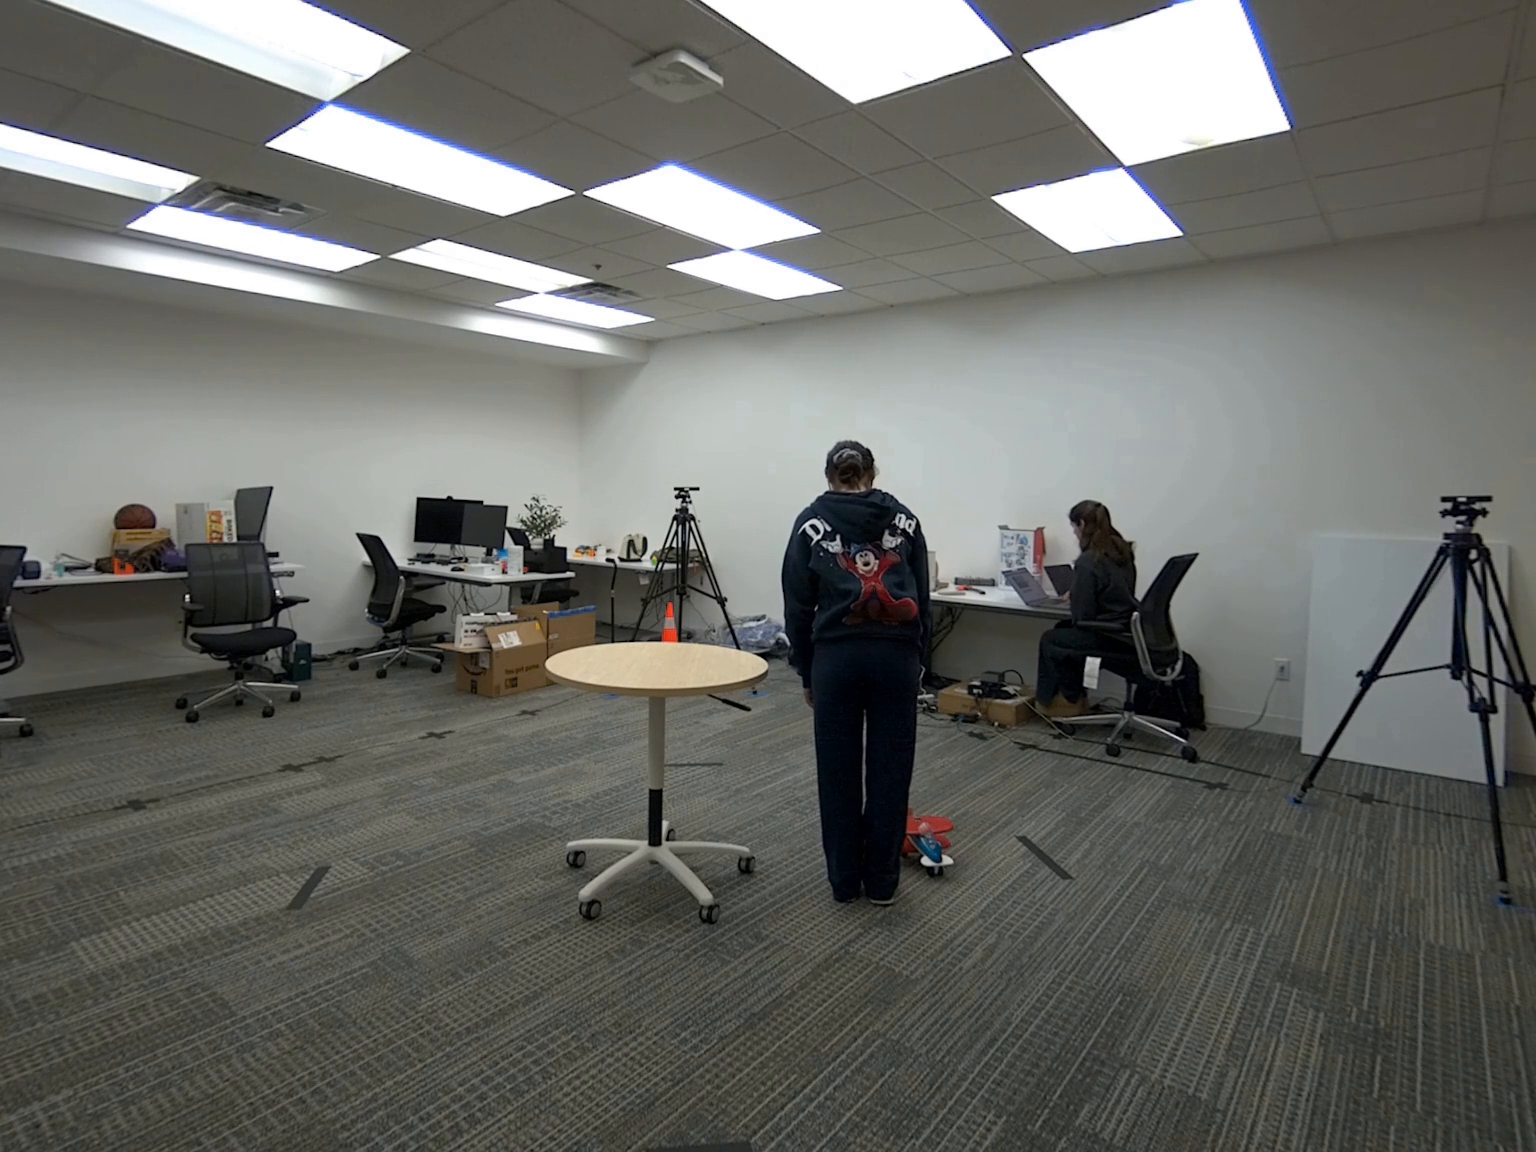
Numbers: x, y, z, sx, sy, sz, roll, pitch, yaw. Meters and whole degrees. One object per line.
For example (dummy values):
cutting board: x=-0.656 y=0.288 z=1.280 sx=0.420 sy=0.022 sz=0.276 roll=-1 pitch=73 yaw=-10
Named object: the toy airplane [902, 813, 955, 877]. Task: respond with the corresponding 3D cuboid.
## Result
toy airplane: x=0.598 y=1.002 z=3.190 sx=0.244 sy=0.156 sz=0.268 roll=-5 pitch=8 yaw=-43
